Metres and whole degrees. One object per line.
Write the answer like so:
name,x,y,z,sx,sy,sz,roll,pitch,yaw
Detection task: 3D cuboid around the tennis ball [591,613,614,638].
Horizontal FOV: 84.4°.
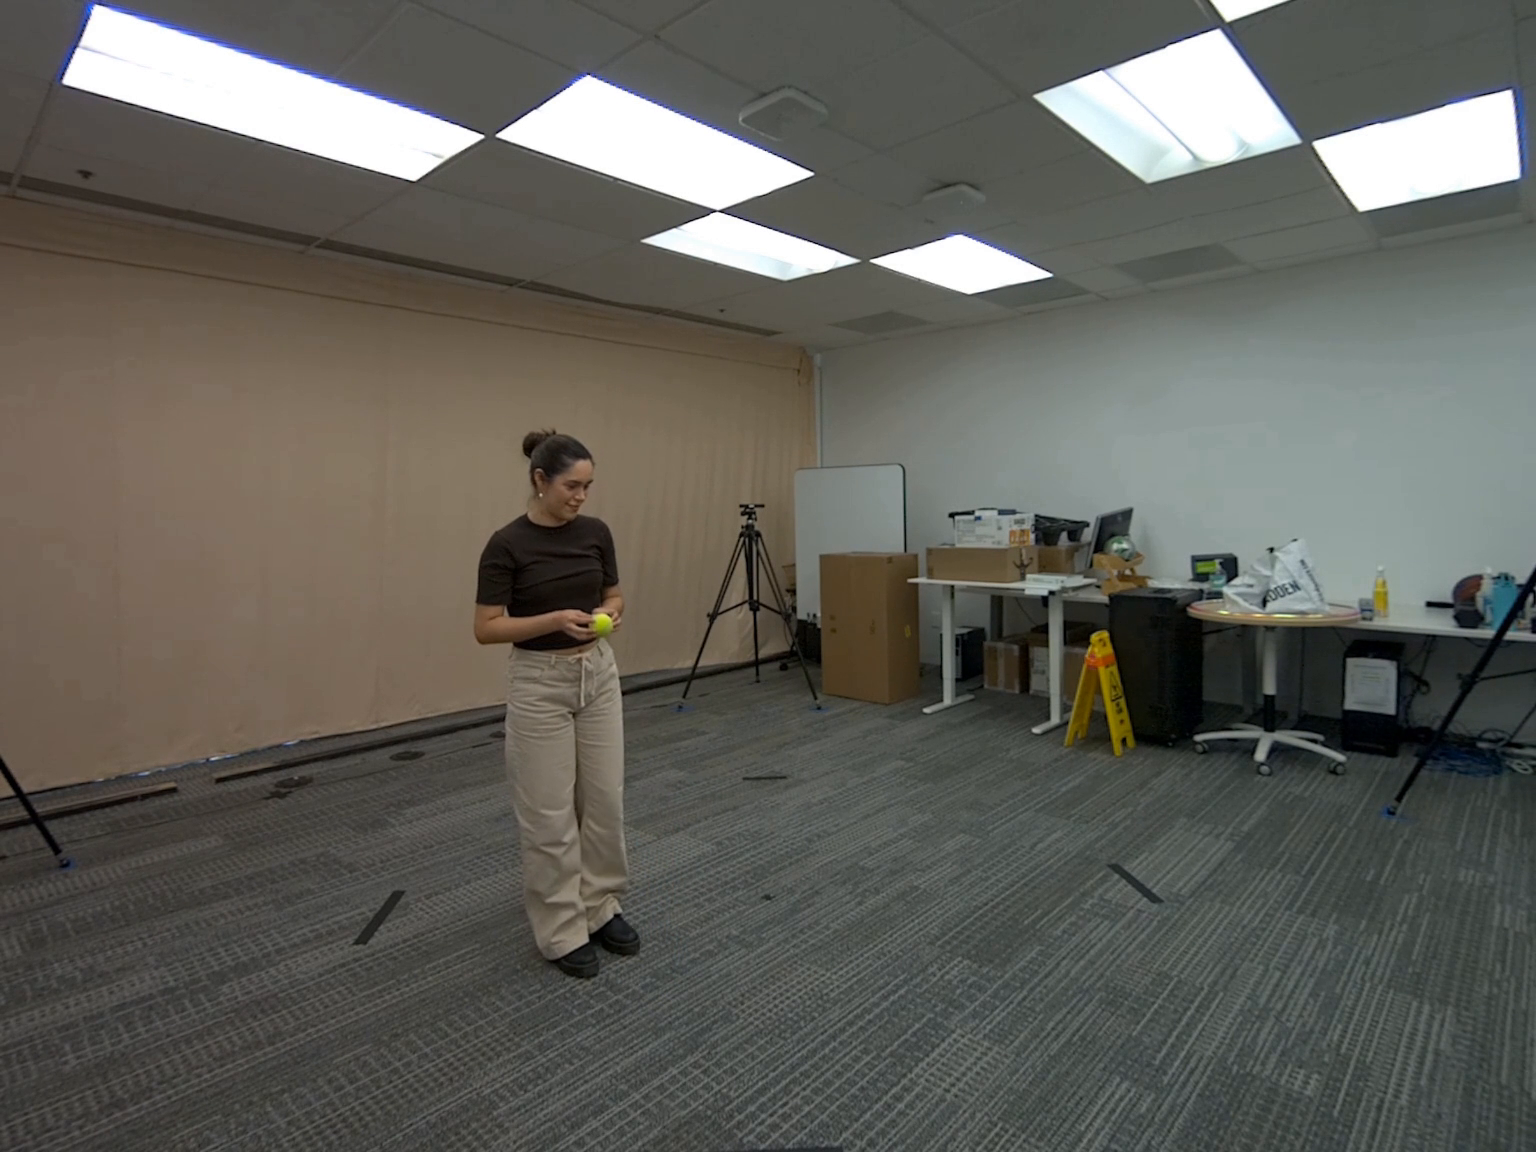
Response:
tennis ball,-0.468,0.138,2.386,0.066,0.066,0.067,-1,4,-2
